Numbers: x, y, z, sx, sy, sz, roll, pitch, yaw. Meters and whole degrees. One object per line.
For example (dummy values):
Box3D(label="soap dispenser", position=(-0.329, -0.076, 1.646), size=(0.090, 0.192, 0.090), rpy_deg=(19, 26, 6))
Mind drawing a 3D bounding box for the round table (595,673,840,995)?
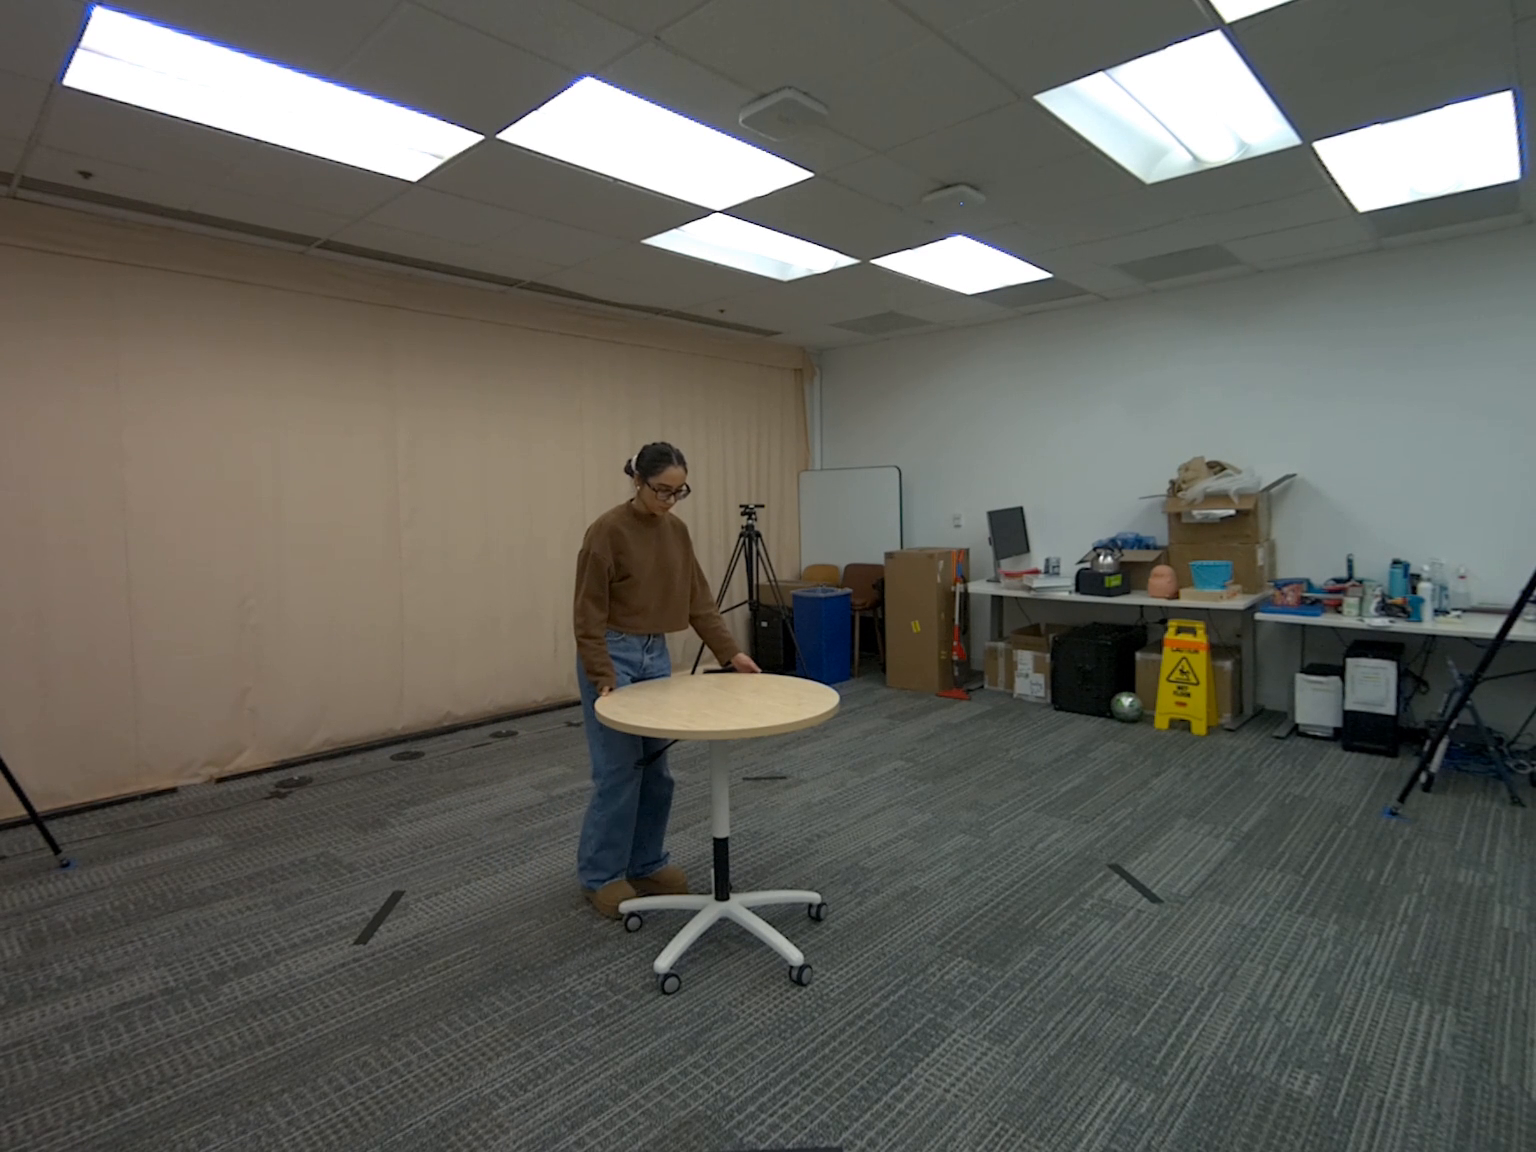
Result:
Box3D(label="round table", position=(-0.142, 0.781, 2.665), size=(0.763, 0.792, 0.767), rpy_deg=(-2, 4, -2))
